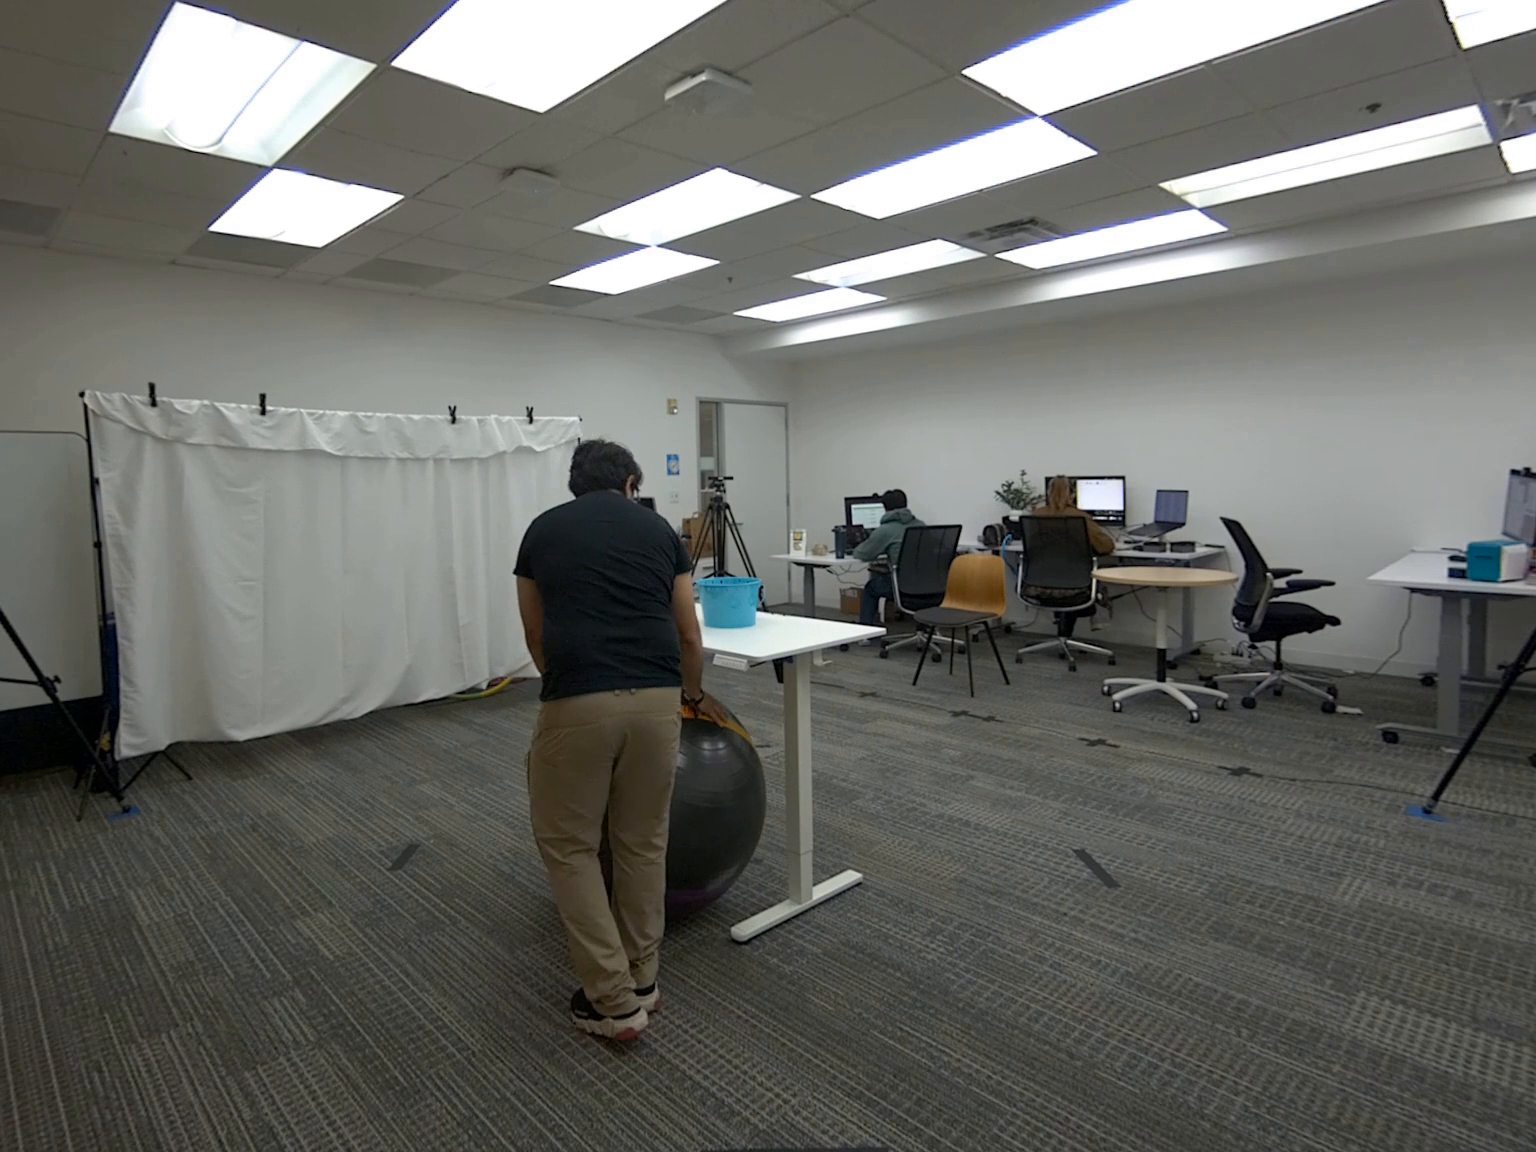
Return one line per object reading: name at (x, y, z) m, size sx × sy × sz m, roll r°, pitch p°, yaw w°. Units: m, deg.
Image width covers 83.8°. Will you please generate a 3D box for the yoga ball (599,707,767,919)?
yoga ball at (-0.385, 0.724, 2.776) m, size 0.757 × 0.755 × 0.762 m, roll -1°, pitch 5°, yaw -2°
